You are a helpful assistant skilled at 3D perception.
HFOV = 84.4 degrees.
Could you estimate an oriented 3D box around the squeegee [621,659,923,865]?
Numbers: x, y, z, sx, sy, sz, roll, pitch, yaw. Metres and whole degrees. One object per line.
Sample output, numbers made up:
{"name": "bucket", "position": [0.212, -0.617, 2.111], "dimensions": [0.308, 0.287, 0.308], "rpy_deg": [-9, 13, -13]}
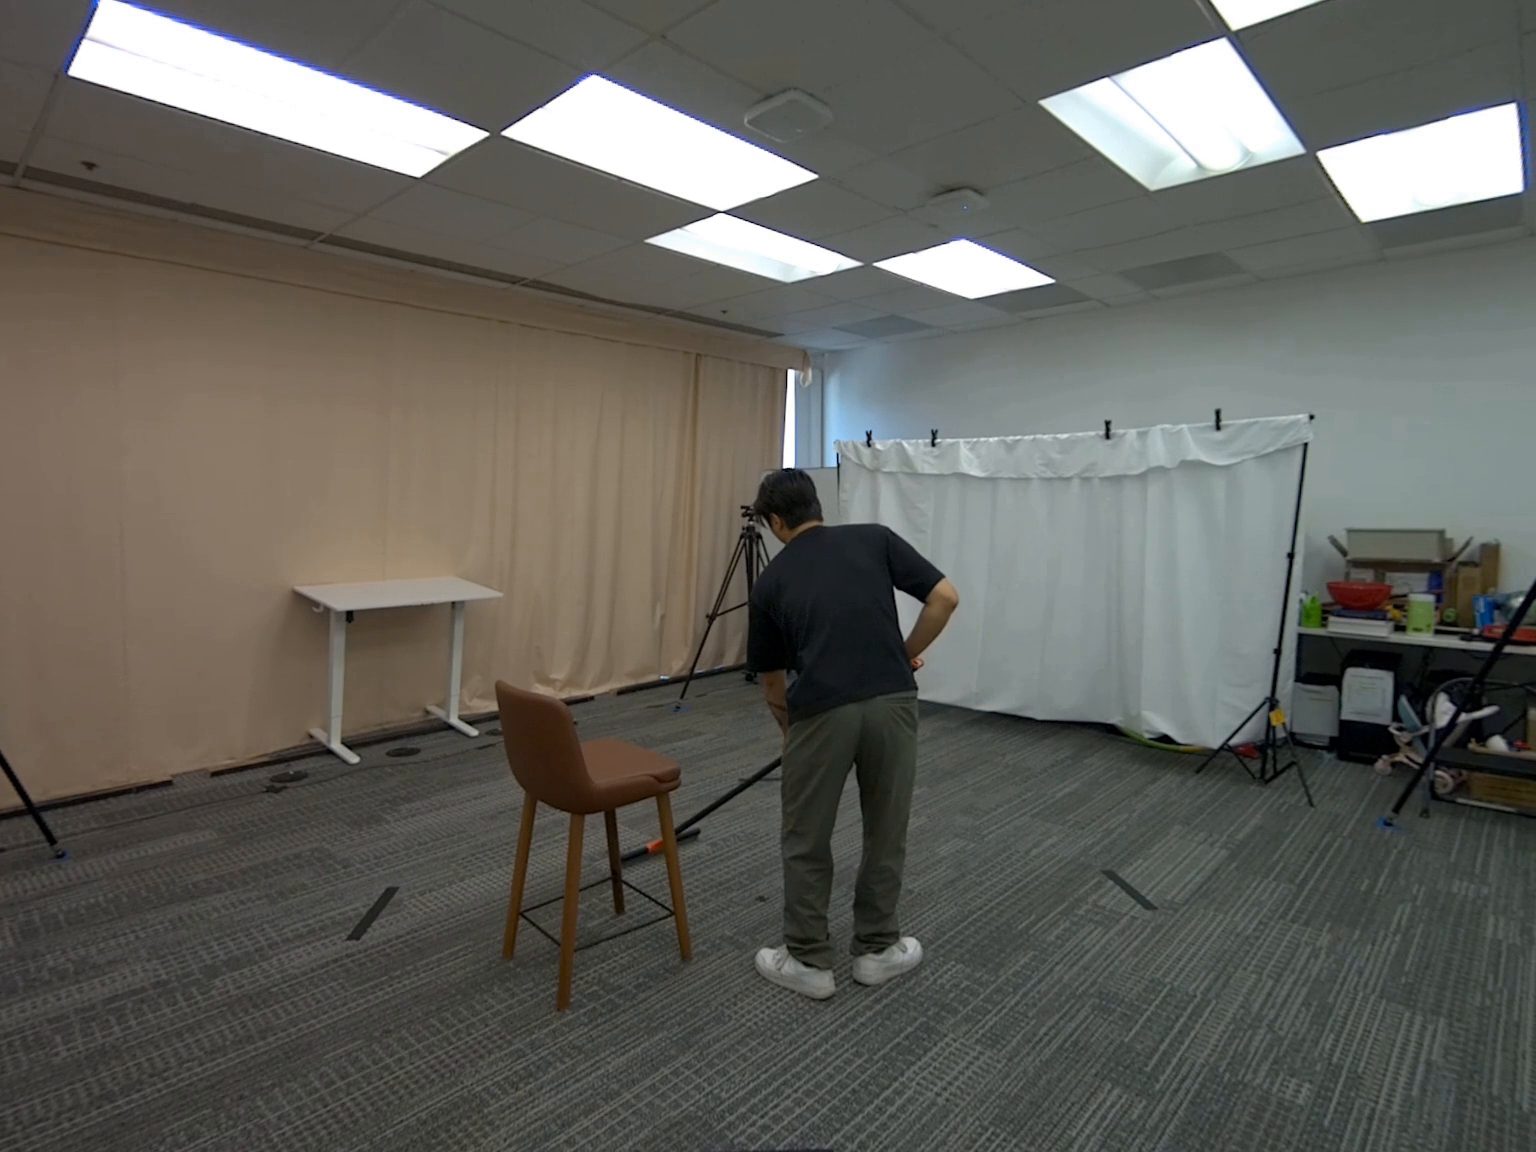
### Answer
{"name": "squeegee", "position": [0.024, 0.652, 2.905], "dimensions": [0.424, 0.054, 1.554], "rpy_deg": [-2, -31, -47]}
